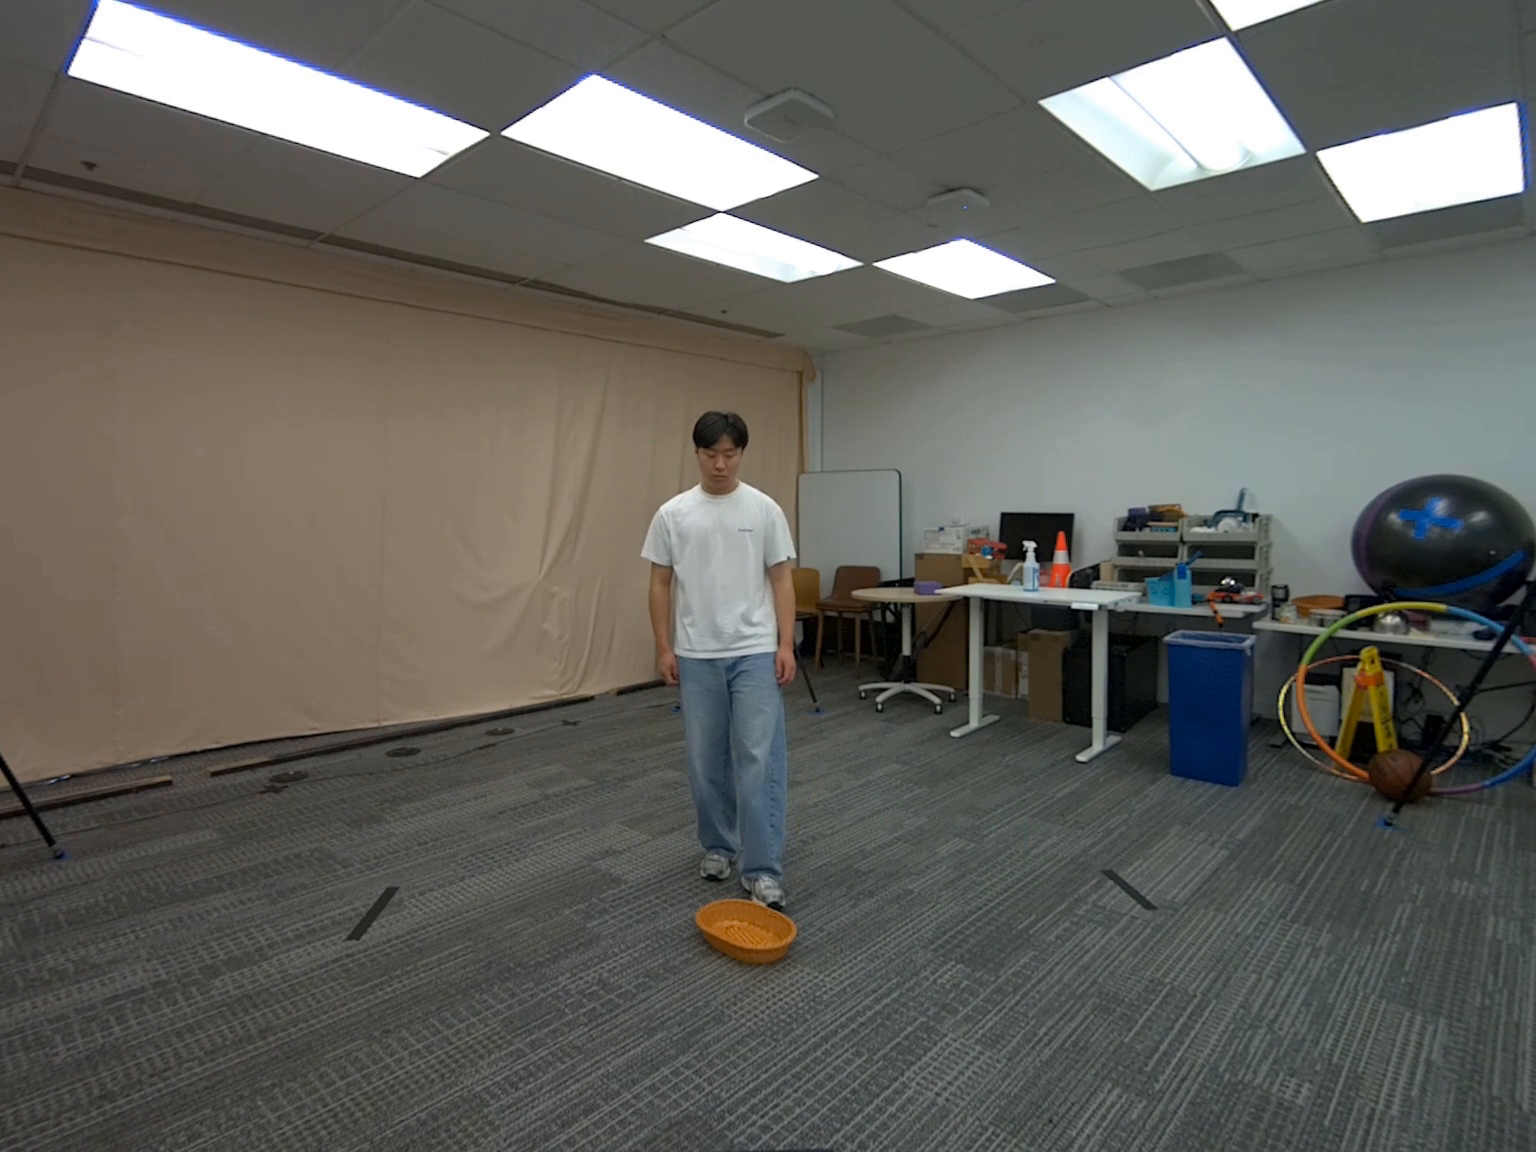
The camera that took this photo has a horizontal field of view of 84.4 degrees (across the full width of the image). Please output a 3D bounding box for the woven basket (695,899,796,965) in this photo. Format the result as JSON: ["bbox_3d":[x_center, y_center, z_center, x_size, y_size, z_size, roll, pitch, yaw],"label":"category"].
[{"bbox_3d":[-0.068,1.122,2.678,0.362,0.073,0.245,4,7,44],"label":"woven basket"}]
